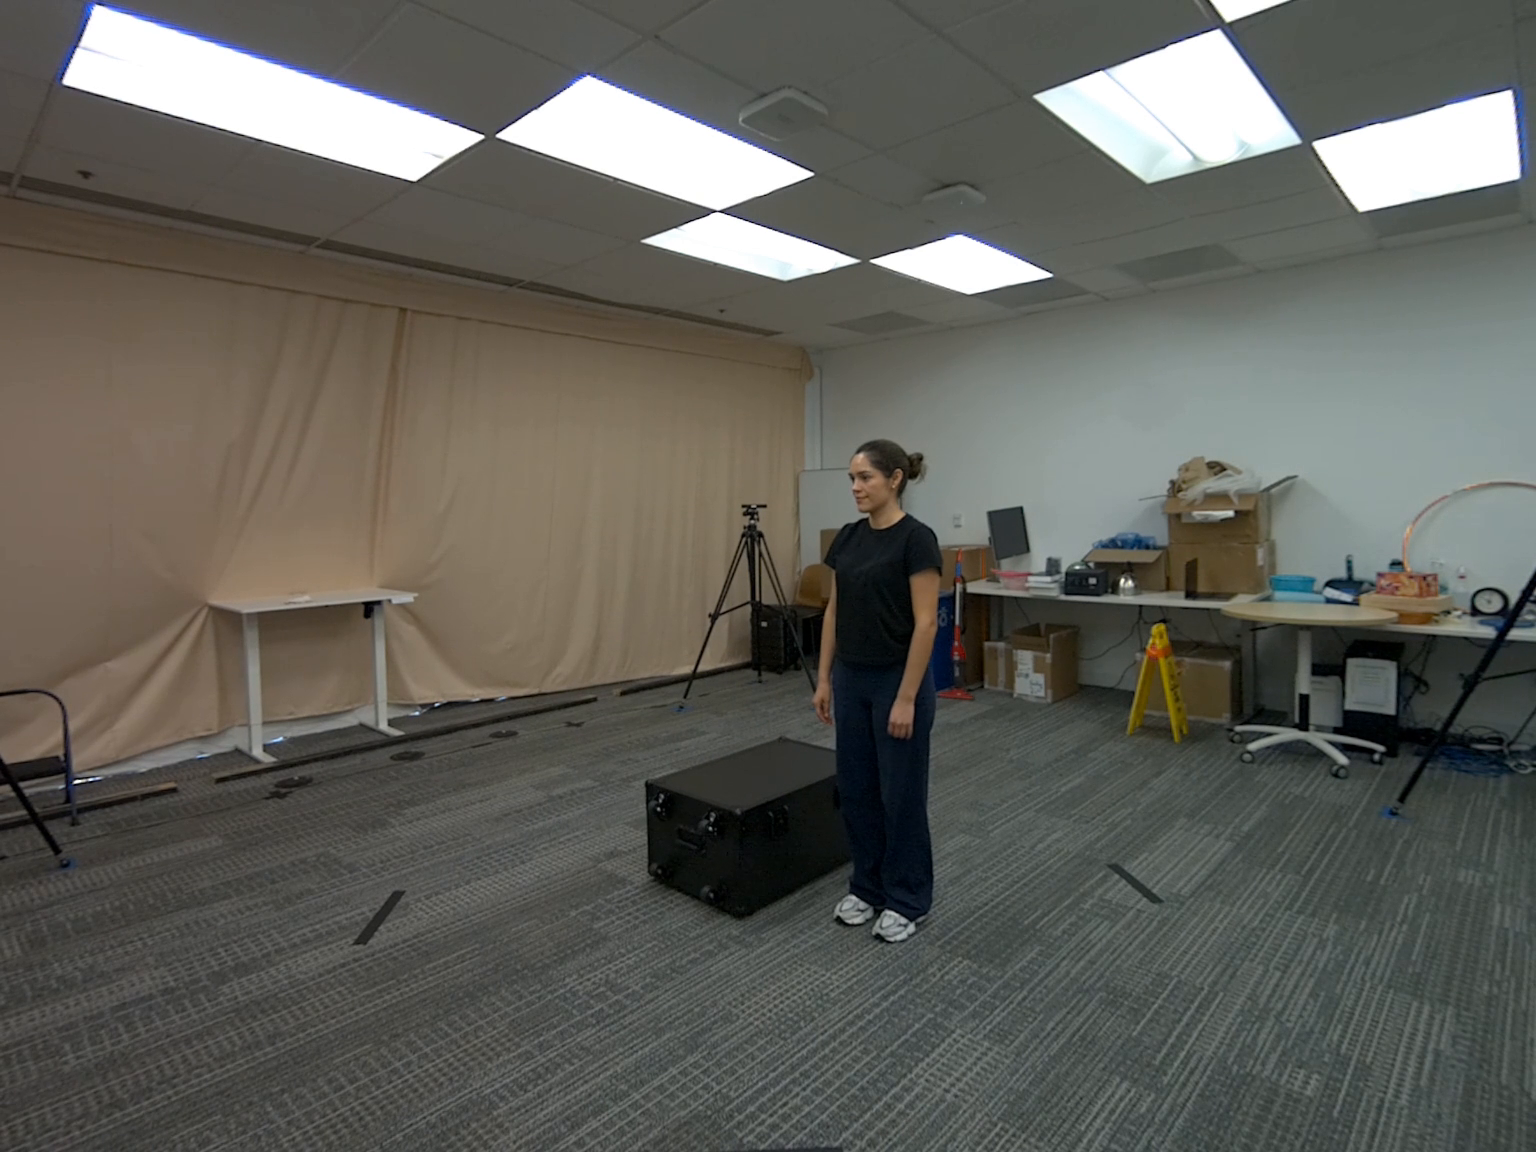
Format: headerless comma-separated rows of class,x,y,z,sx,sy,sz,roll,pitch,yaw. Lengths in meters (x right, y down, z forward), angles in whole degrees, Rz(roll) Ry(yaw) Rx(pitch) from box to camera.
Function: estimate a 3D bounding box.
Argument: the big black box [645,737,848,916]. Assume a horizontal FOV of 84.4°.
big black box,-0.025,0.930,3.219,0.538,0.395,0.835,3,5,43
